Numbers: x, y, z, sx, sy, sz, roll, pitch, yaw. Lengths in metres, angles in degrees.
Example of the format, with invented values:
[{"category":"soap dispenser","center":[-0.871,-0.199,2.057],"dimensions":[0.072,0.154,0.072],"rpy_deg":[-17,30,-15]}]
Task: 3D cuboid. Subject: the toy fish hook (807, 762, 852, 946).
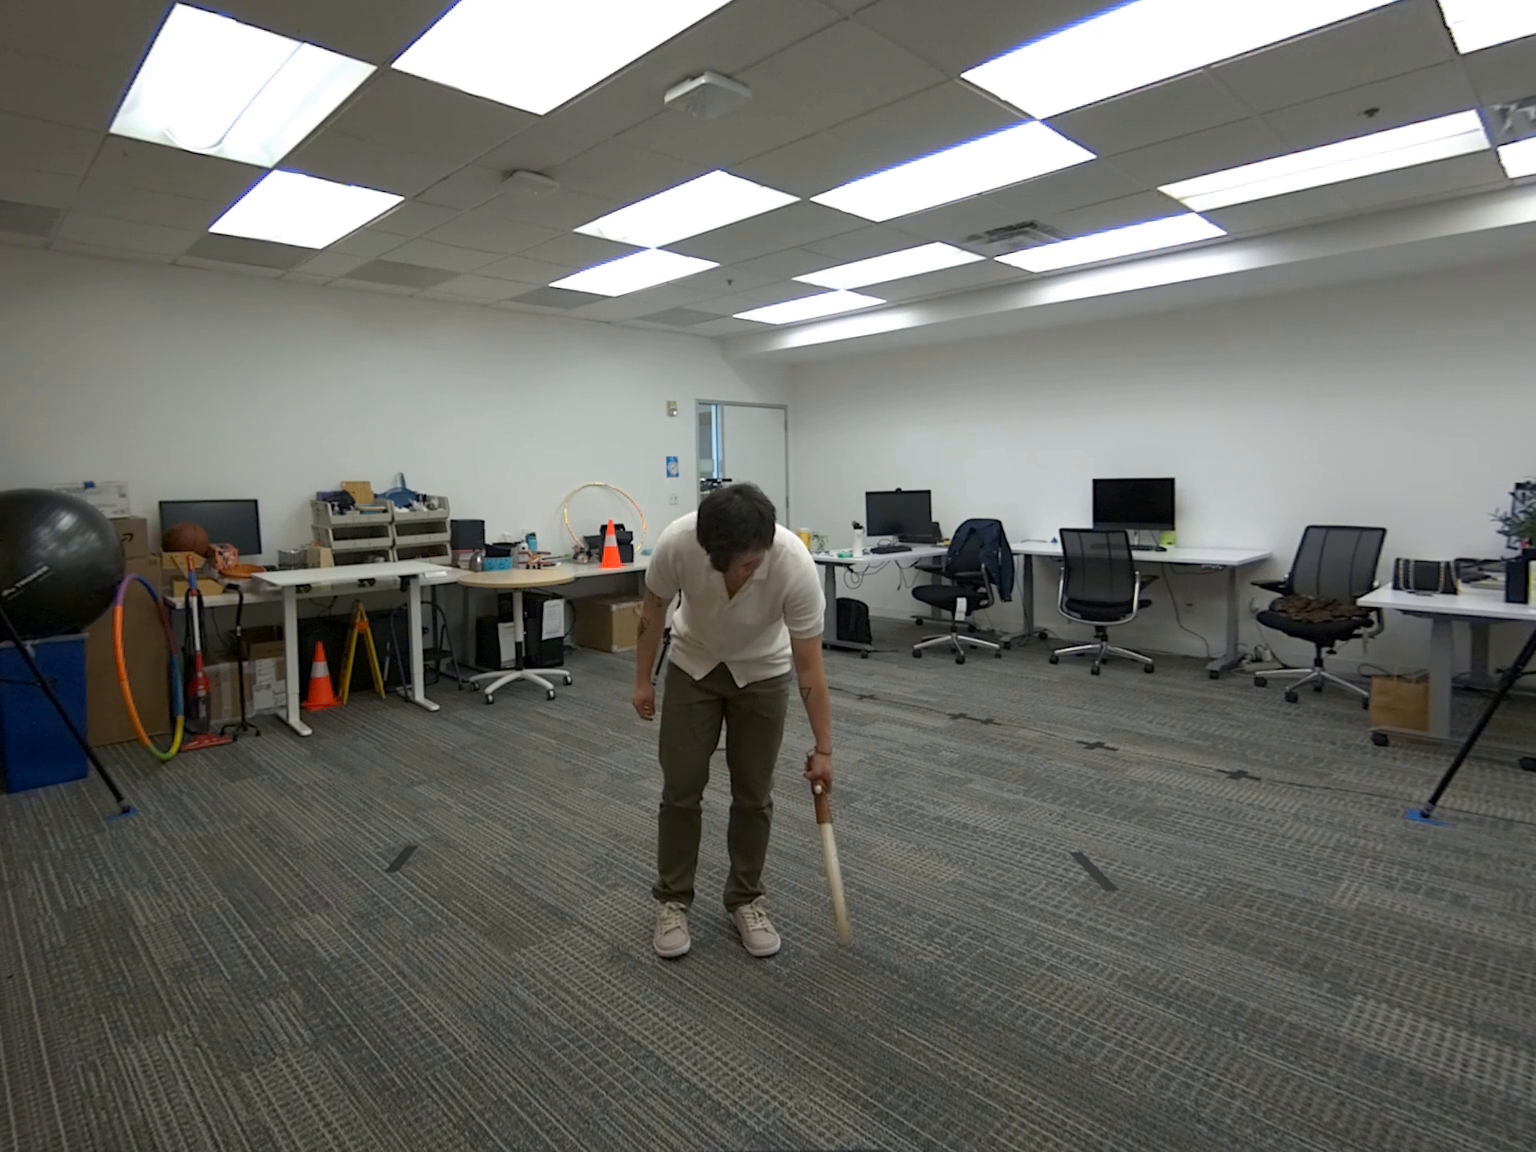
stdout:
[{"category":"toy fish hook","center":[0.173,0.752,2.394],"dimensions":[0.048,0.517,0.220],"rpy_deg":[-8,-20,-2]}]
